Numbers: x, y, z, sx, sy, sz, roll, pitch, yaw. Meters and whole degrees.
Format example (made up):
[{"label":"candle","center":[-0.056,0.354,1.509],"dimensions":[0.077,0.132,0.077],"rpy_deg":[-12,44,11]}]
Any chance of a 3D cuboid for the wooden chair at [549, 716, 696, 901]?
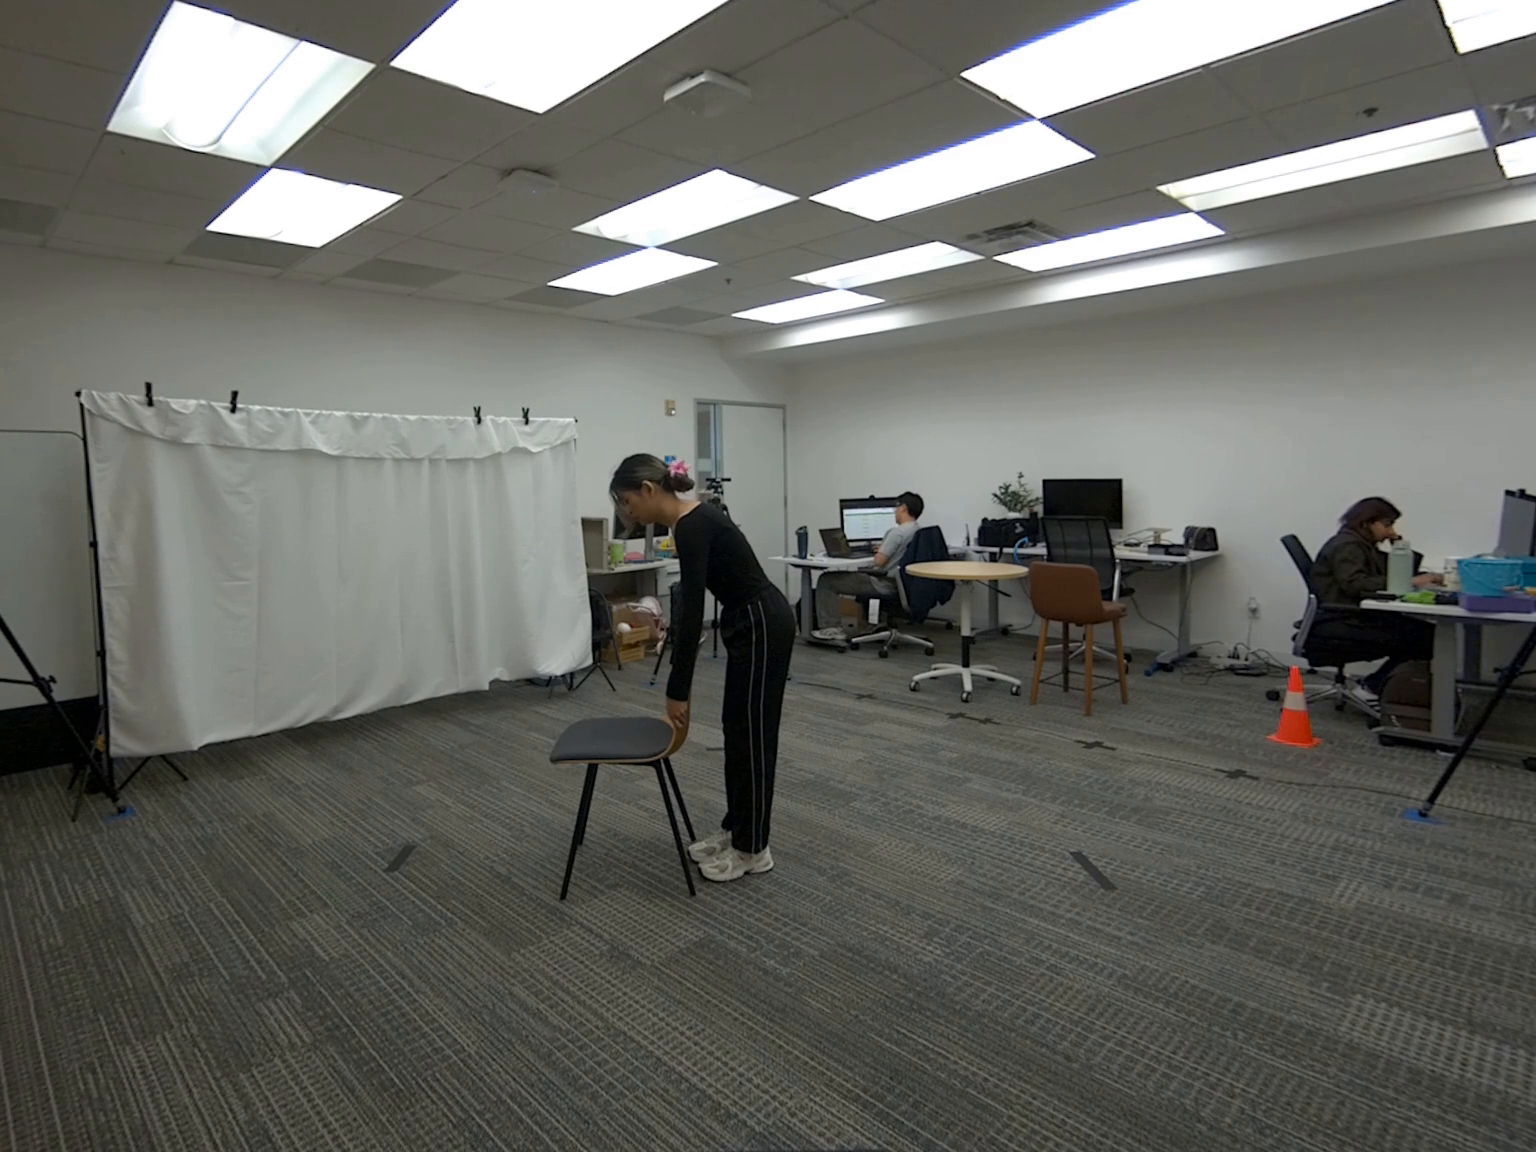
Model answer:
[{"label":"wooden chair","center":[-0.500,0.628,3.042],"dimensions":[0.521,0.874,0.482],"rpy_deg":[3,5,-4]}]
